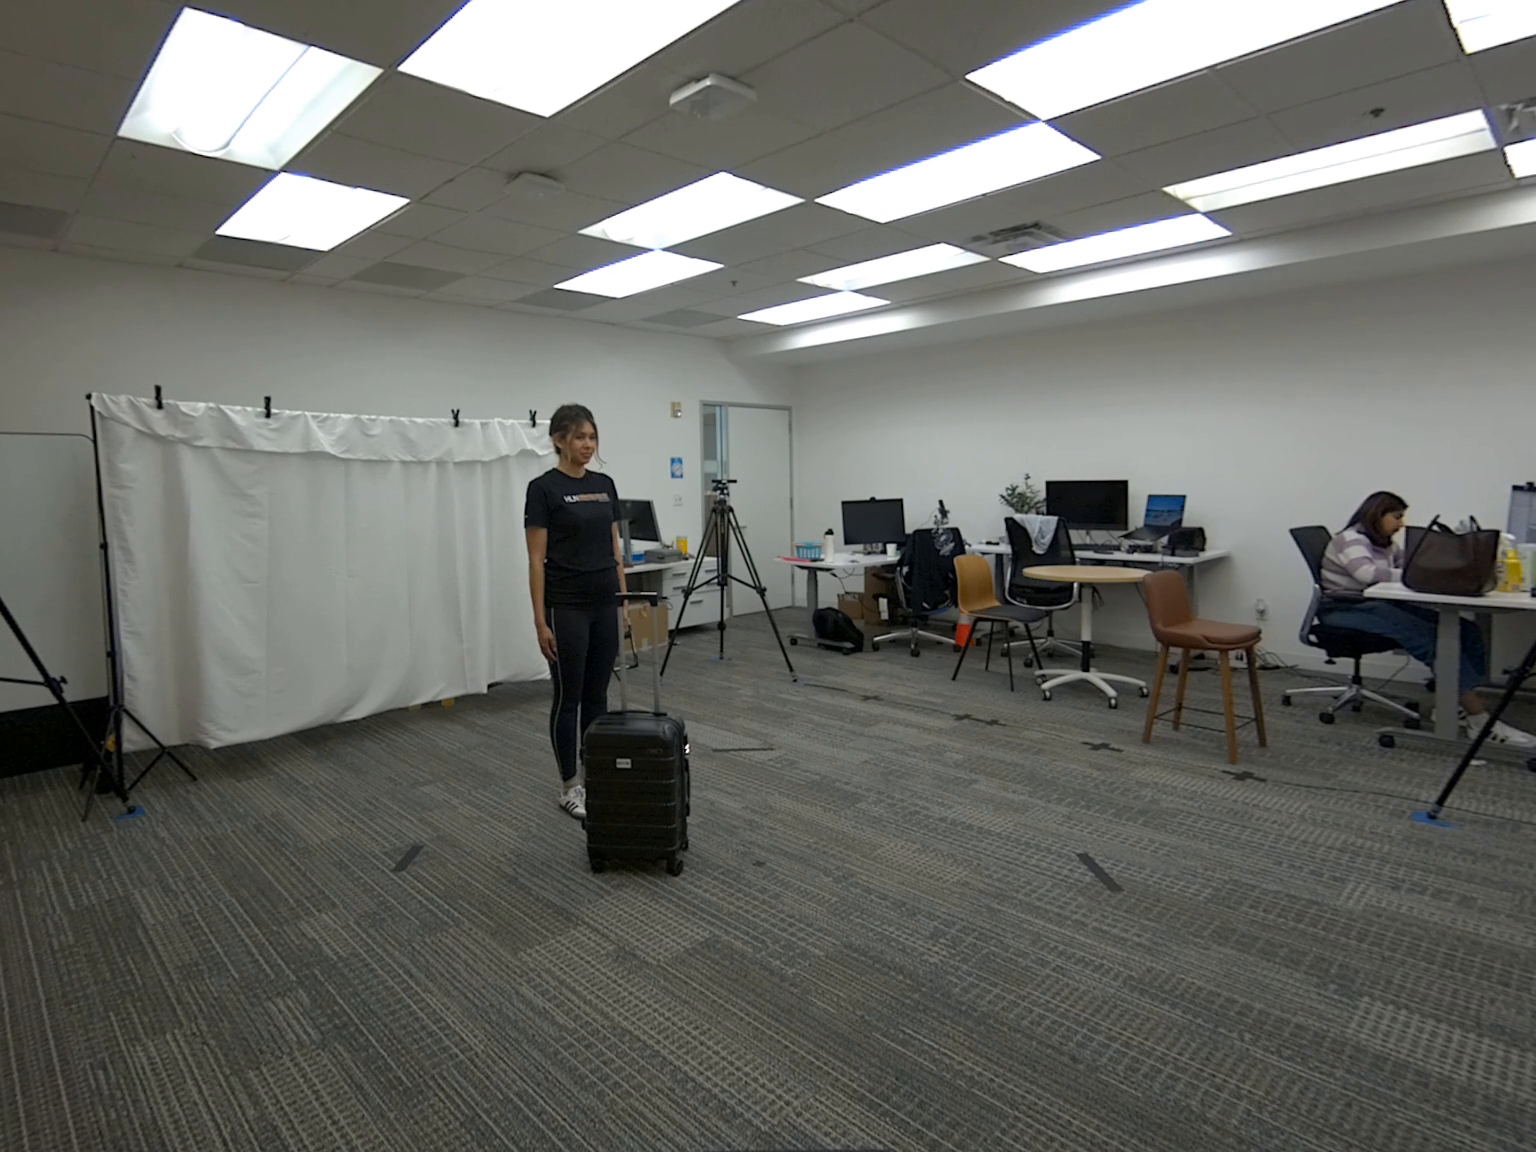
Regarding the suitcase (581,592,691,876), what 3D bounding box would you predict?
[{"bbox_3d":[-0.482,0.576,3.113,0.386,0.973,0.257,-1,6,5],"label":"suitcase"}]
